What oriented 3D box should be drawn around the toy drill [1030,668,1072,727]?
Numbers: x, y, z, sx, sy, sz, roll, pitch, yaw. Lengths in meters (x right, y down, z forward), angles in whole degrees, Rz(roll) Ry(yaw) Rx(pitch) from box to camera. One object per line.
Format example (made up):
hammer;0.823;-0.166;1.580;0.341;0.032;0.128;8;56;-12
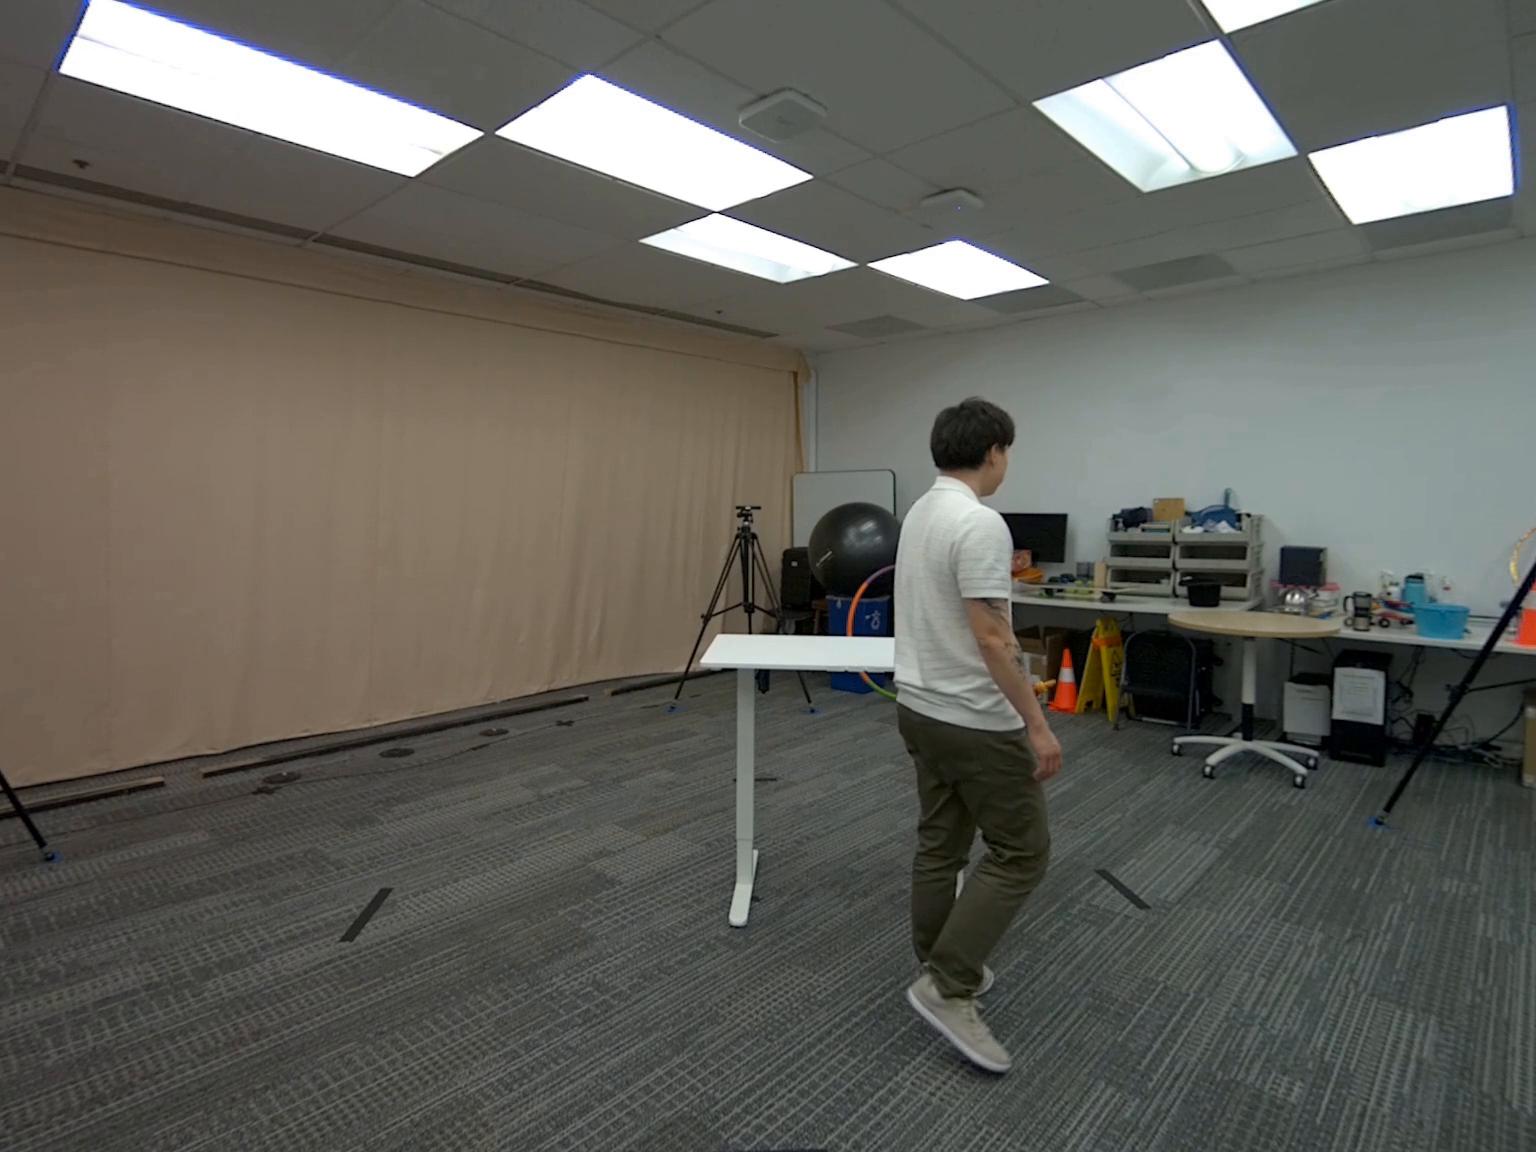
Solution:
toy drill;0.772;0.378;2.497;0.172;0.147;0.059;-32;-11;28
